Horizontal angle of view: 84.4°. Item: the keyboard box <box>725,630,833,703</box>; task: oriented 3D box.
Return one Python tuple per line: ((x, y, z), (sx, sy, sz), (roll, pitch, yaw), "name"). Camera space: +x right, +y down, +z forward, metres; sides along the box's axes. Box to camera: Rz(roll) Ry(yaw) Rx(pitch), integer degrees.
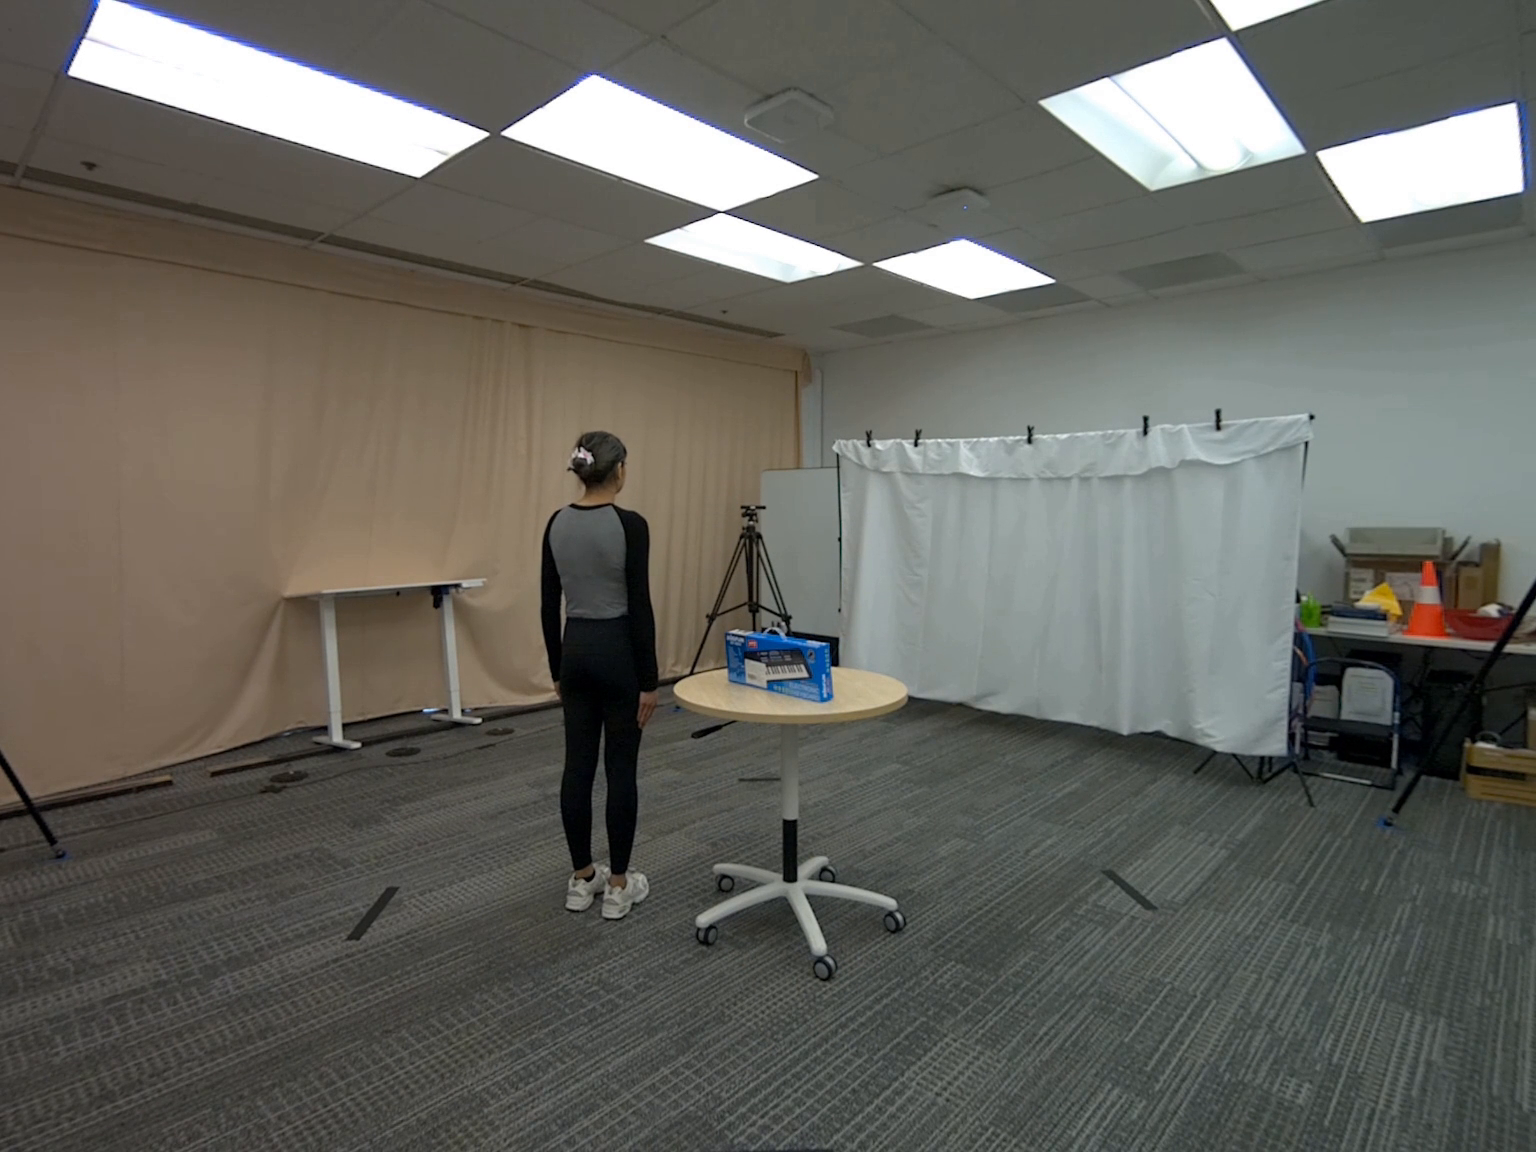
((0.034, 0.287, 2.721), (0.057, 0.175, 0.451), (-8, 8, -40), "keyboard box")
